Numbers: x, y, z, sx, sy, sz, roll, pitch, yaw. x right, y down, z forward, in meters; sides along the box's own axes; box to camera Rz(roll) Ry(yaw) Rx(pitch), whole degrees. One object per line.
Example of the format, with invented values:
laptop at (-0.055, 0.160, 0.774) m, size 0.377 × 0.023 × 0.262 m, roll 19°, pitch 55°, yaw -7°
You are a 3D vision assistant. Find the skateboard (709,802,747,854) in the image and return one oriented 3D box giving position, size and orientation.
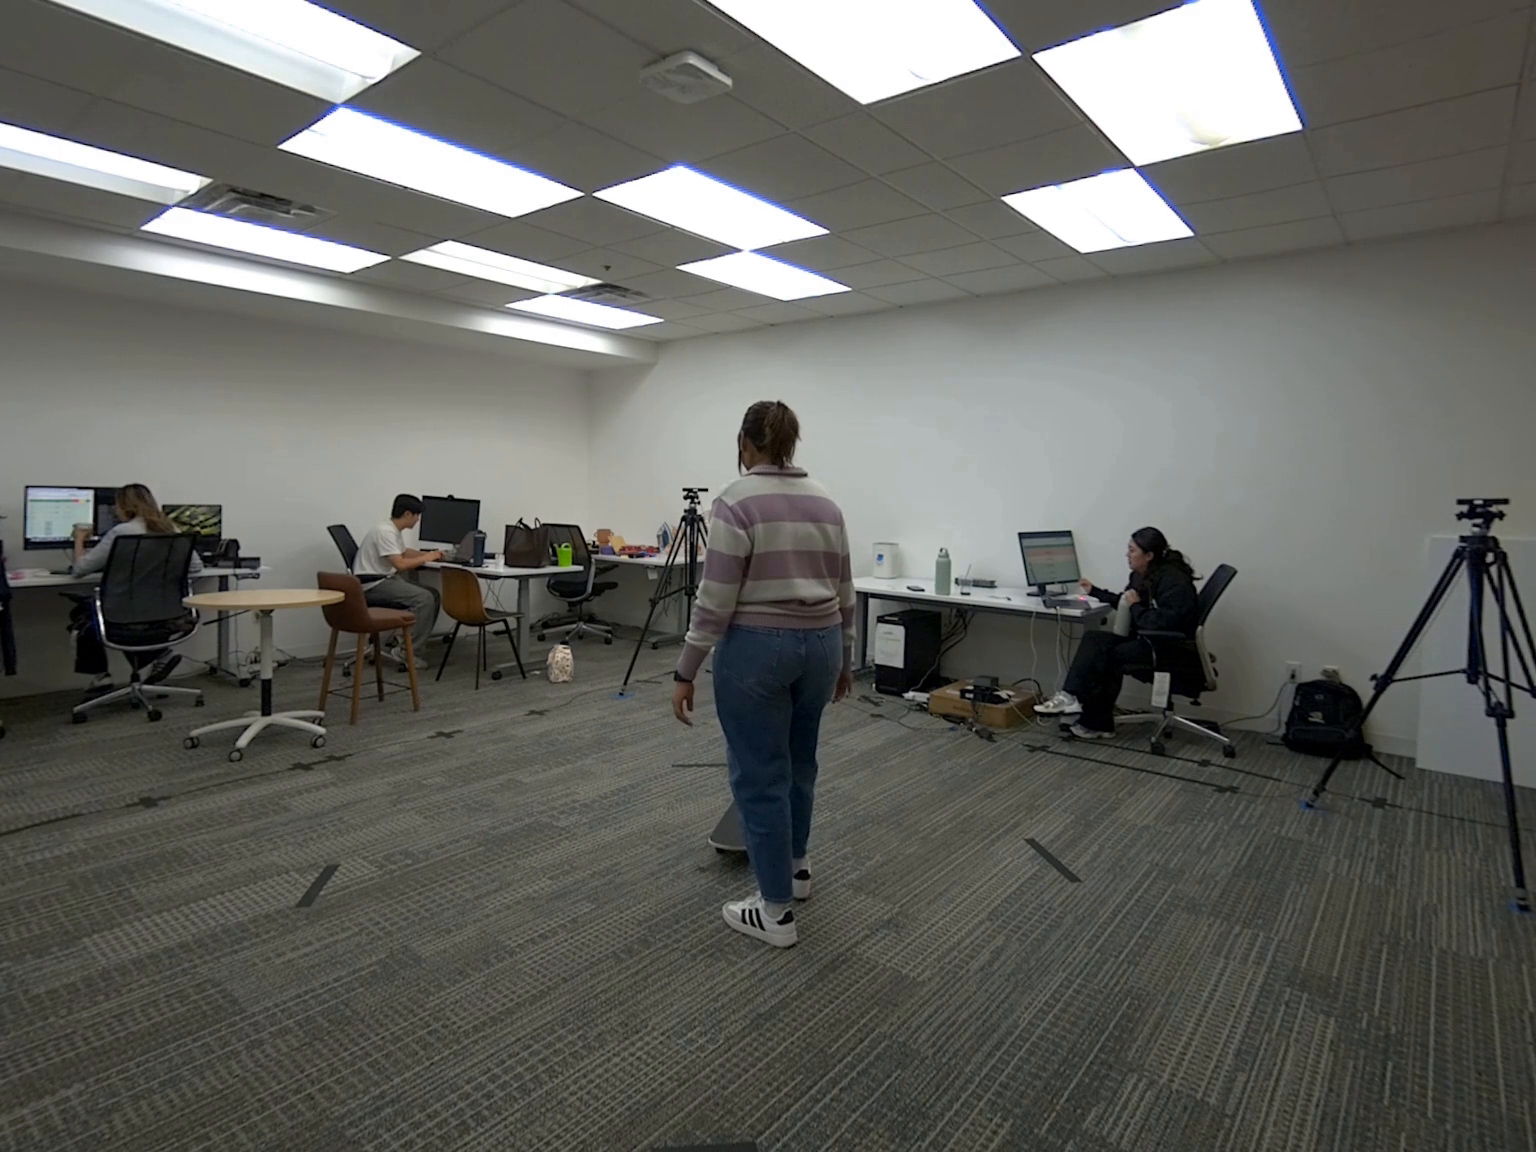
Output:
skateboard at (-0.074, 0.978, 3.431) m, size 0.196 × 0.110 × 0.777 m, roll 2°, pitch 6°, yaw 11°
